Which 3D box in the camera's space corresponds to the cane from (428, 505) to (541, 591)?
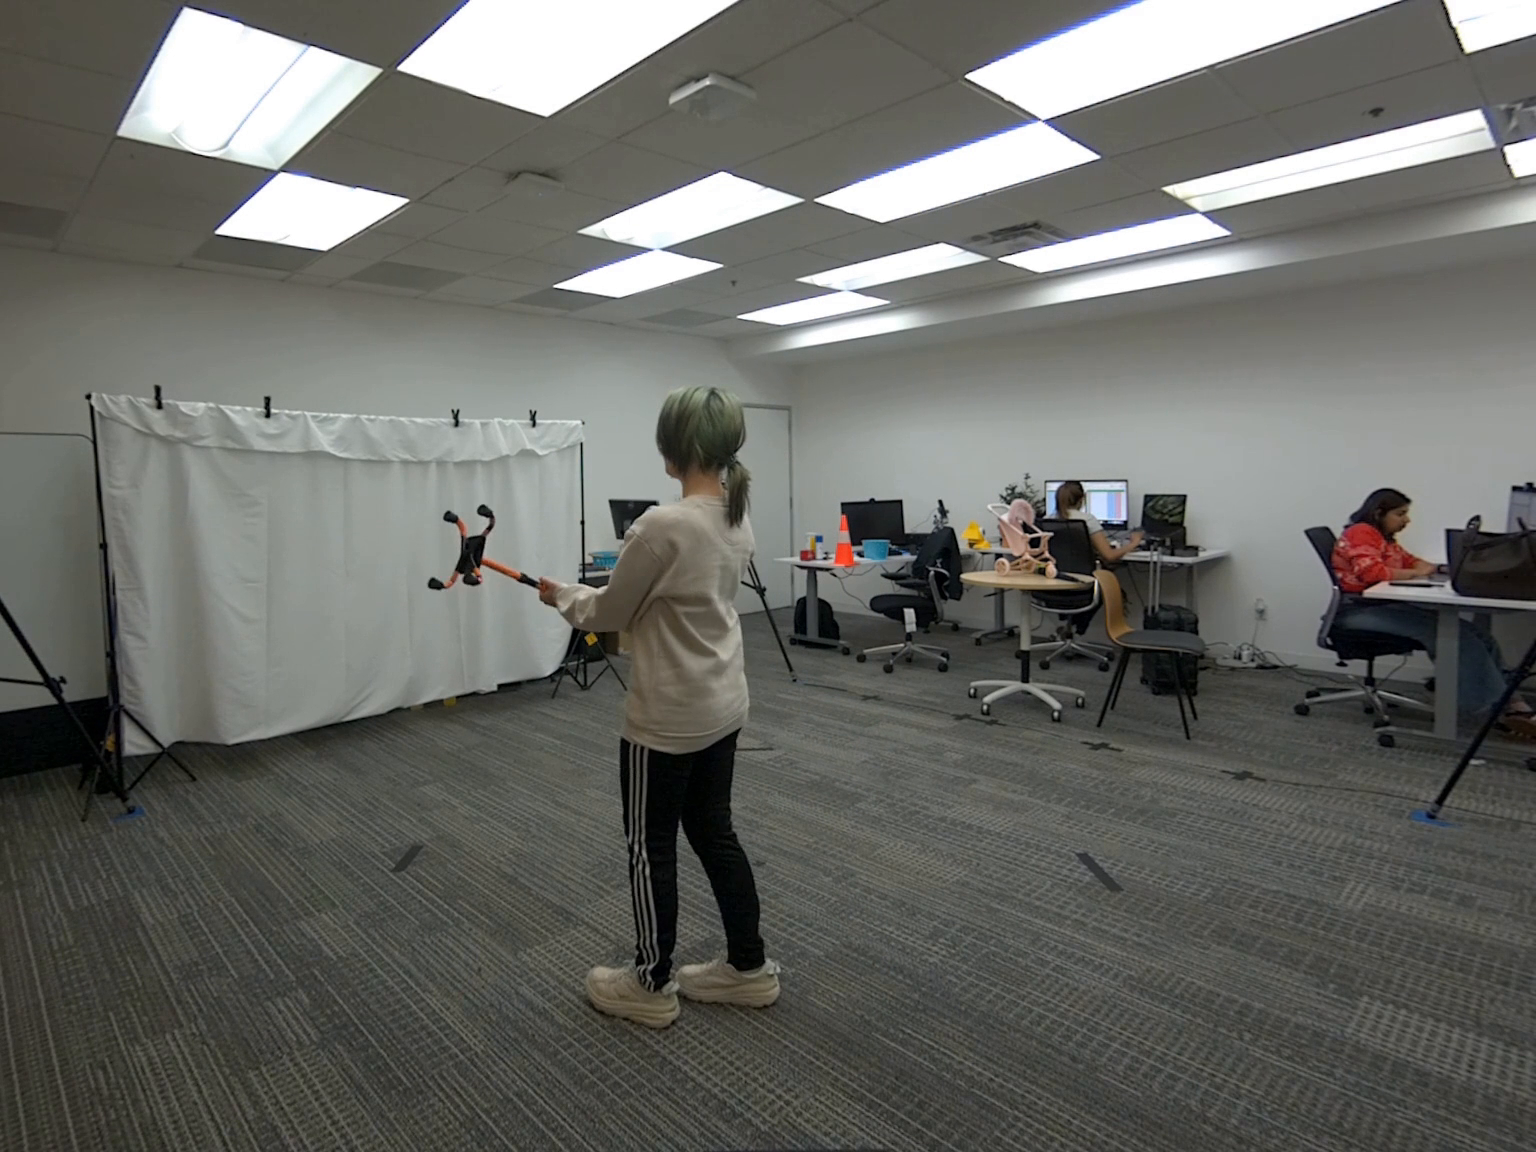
[{"bbox_3d":[-0.538,0.068,2.429,0.155,0.210,0.874,-8,-23,29],"label":"cane"}]
